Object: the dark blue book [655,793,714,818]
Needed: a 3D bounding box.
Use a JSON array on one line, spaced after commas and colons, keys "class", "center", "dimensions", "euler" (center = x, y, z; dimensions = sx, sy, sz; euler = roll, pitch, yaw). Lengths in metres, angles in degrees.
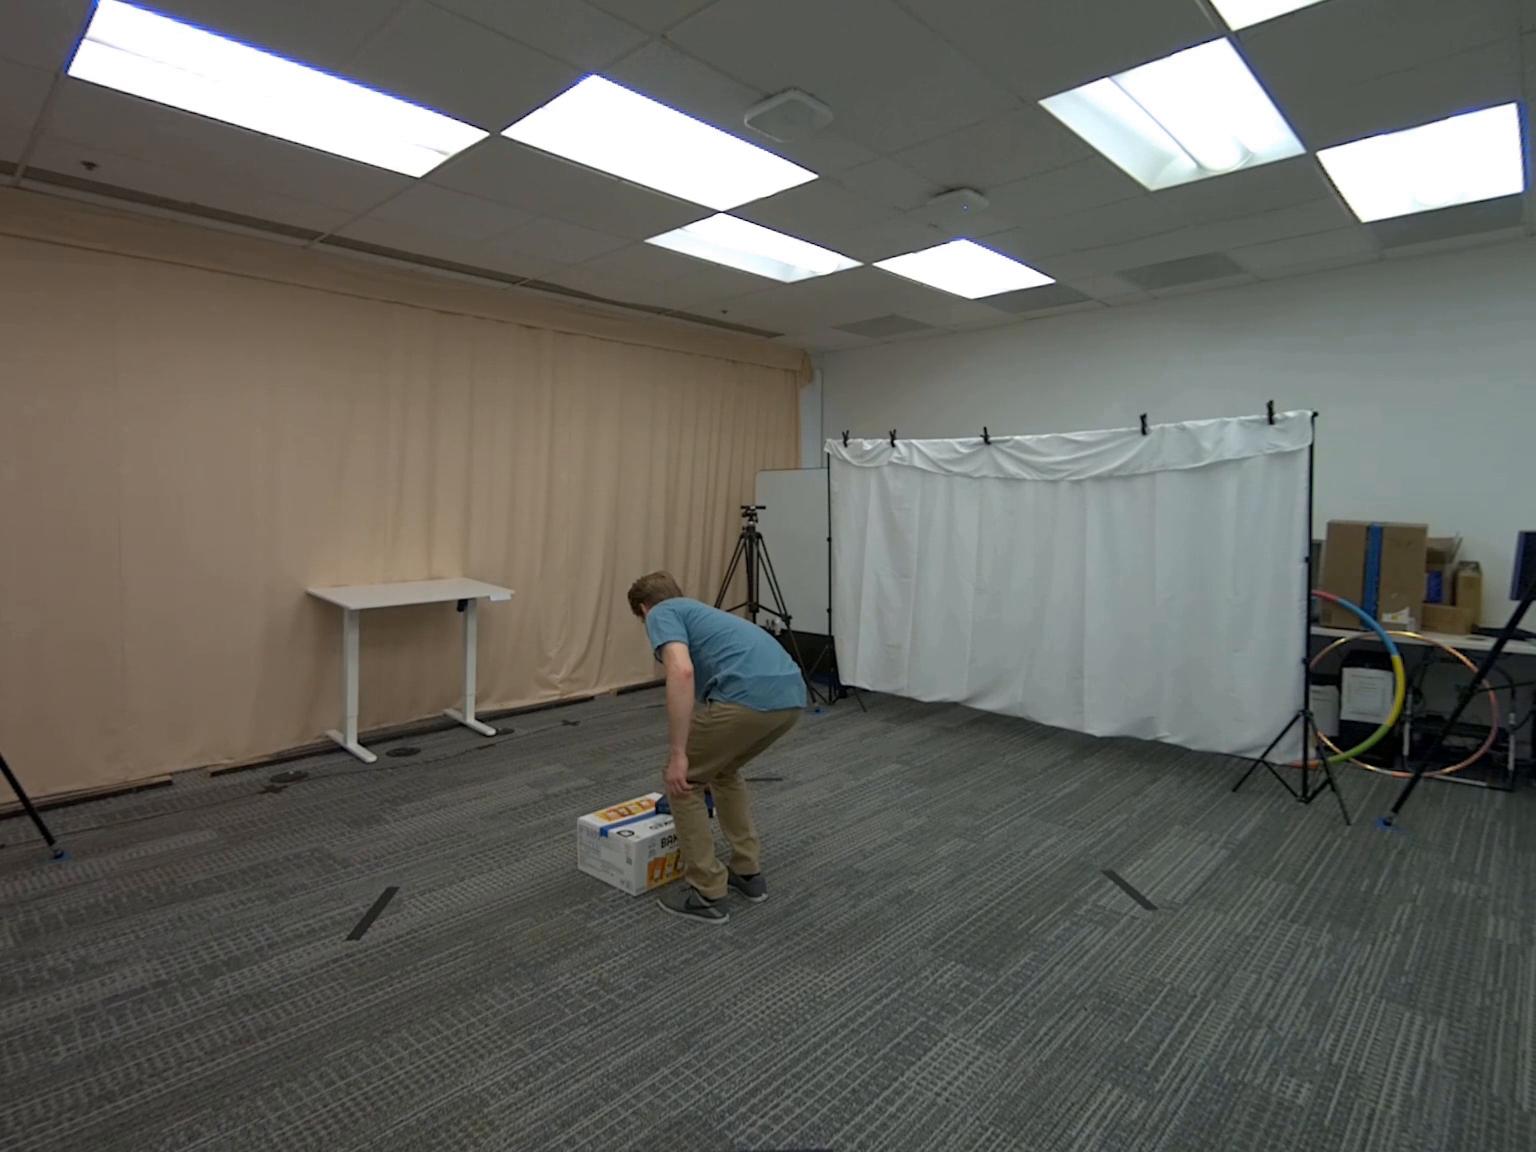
[{"class": "dark blue book", "center": [-0.306, 0.898, 3.317], "dimensions": [0.250, 0.045, 0.160], "euler": [0, 6, 19]}]
